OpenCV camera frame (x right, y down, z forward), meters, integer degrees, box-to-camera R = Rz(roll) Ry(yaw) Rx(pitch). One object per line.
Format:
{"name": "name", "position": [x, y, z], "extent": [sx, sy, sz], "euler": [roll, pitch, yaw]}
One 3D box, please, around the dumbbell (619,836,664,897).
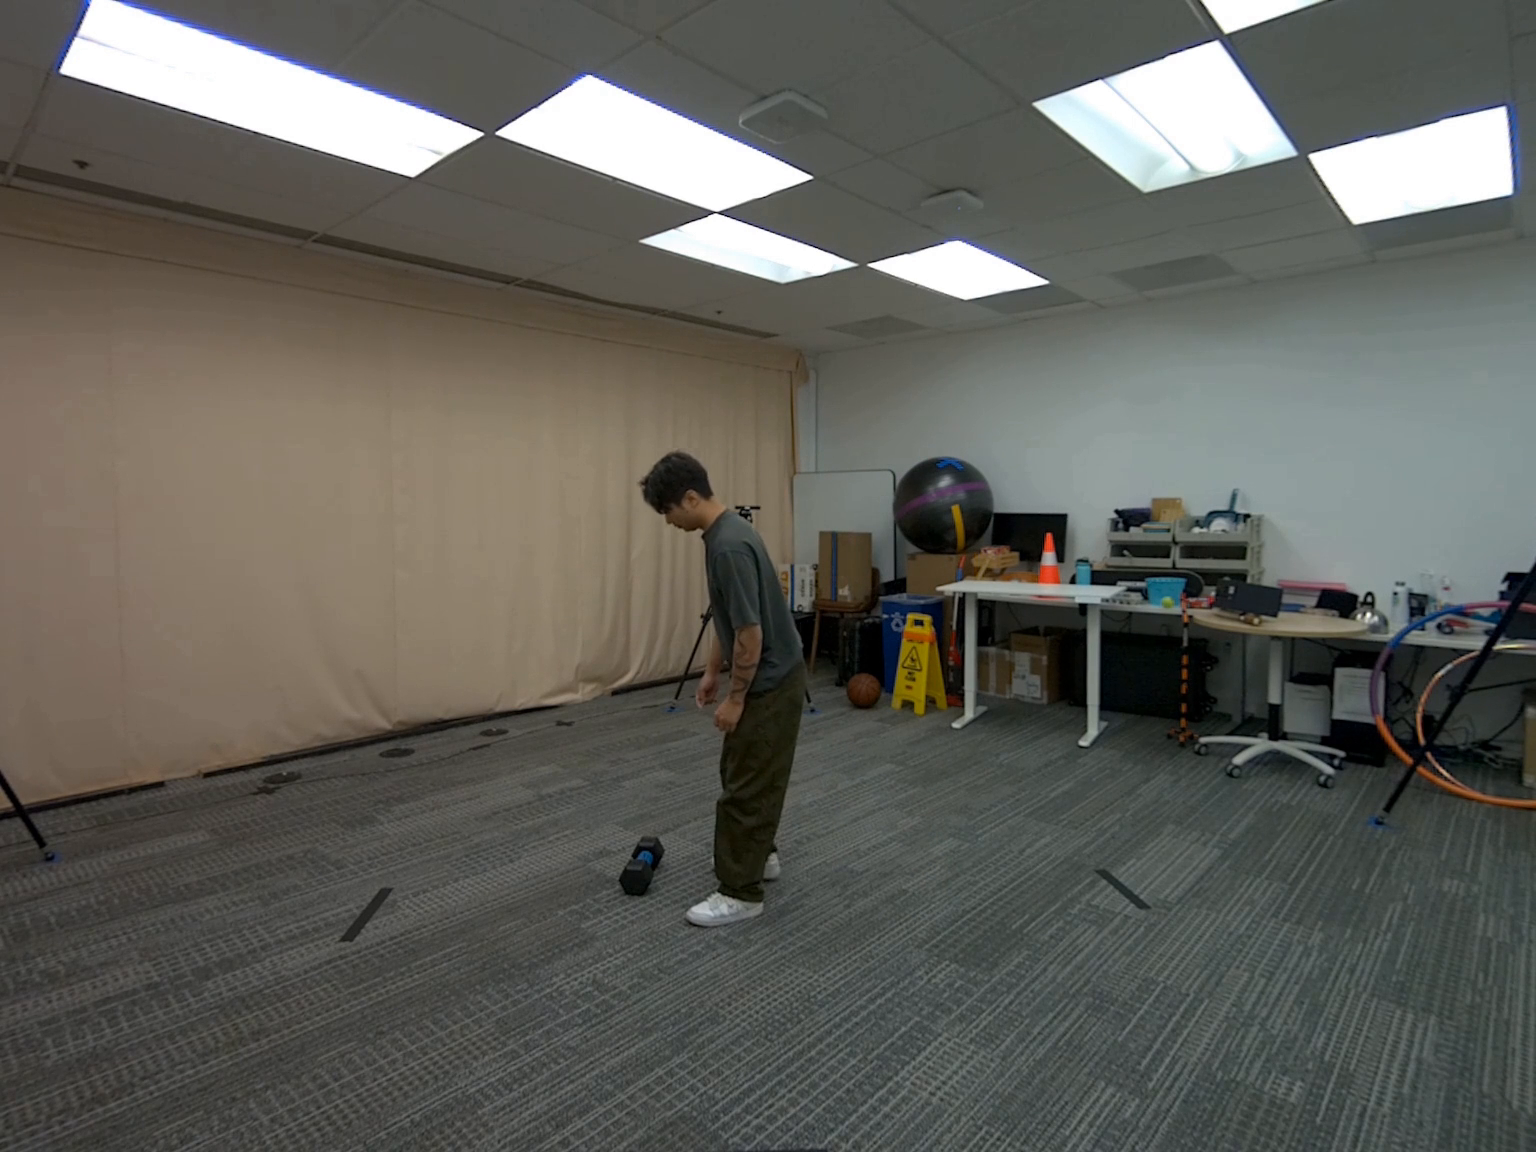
{"name": "dumbbell", "position": [-0.468, 1.082, 3.146], "extent": [0.109, 0.123, 0.293], "euler": [-30, 3, 5]}
